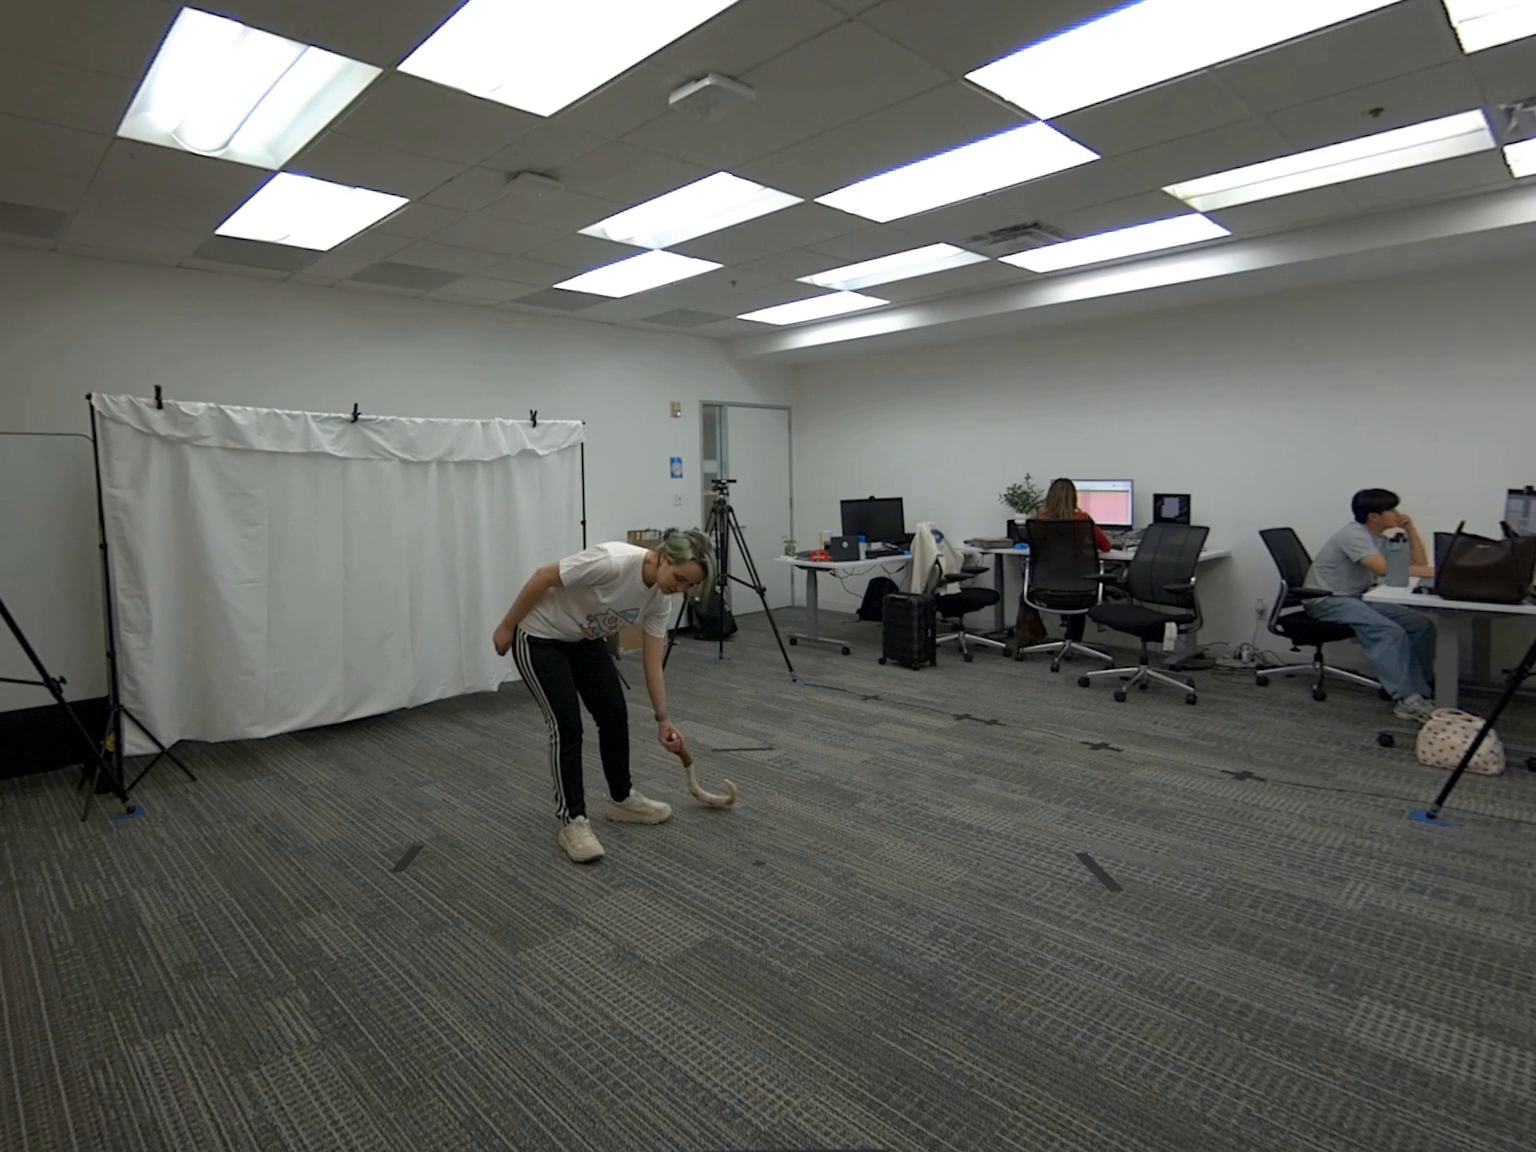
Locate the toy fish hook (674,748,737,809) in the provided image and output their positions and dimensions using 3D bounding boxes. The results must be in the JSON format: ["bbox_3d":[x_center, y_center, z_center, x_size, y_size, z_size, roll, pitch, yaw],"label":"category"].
[{"bbox_3d":[-0.272,0.803,3.519,0.228,0.489,0.049,-6,40,21],"label":"toy fish hook"}]
